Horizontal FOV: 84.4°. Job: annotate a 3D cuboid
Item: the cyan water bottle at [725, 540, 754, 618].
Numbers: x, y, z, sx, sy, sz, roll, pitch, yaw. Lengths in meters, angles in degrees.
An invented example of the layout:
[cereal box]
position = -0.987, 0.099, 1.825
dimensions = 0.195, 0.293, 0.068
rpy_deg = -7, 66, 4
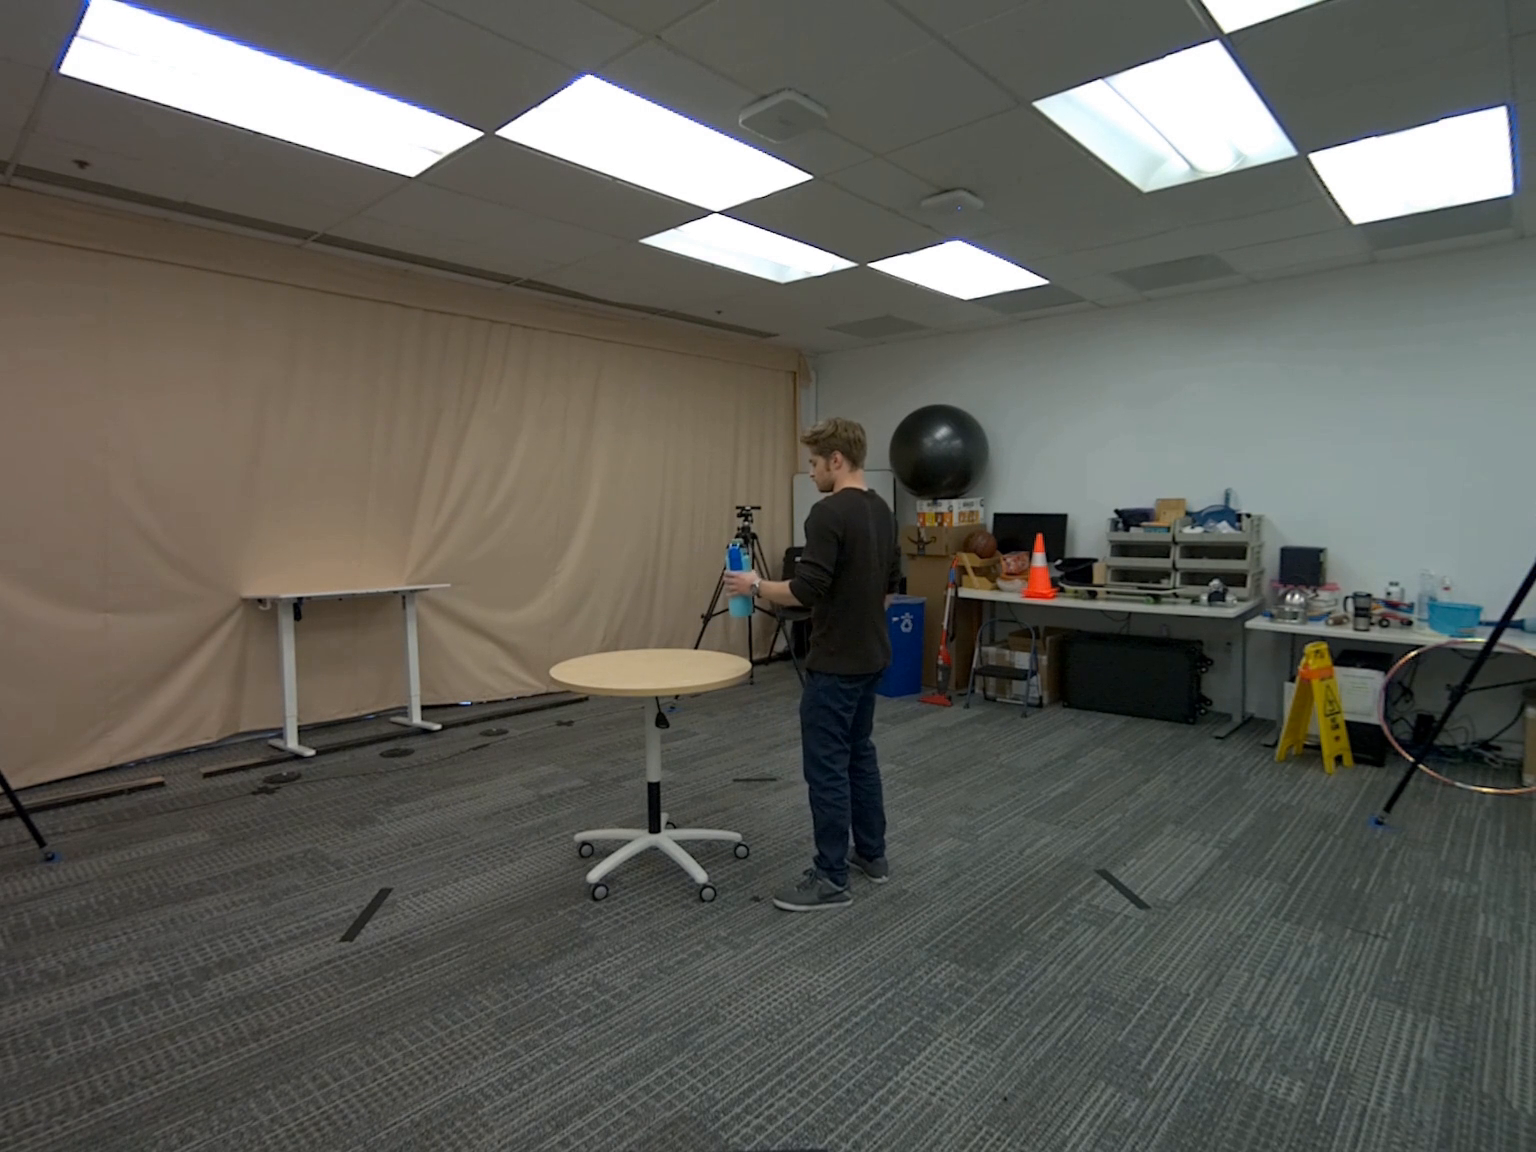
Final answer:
[cyan water bottle]
position = -0.103, 0.006, 3.147
dimensions = 0.092, 0.281, 0.093
rpy_deg = -5, 11, -1
